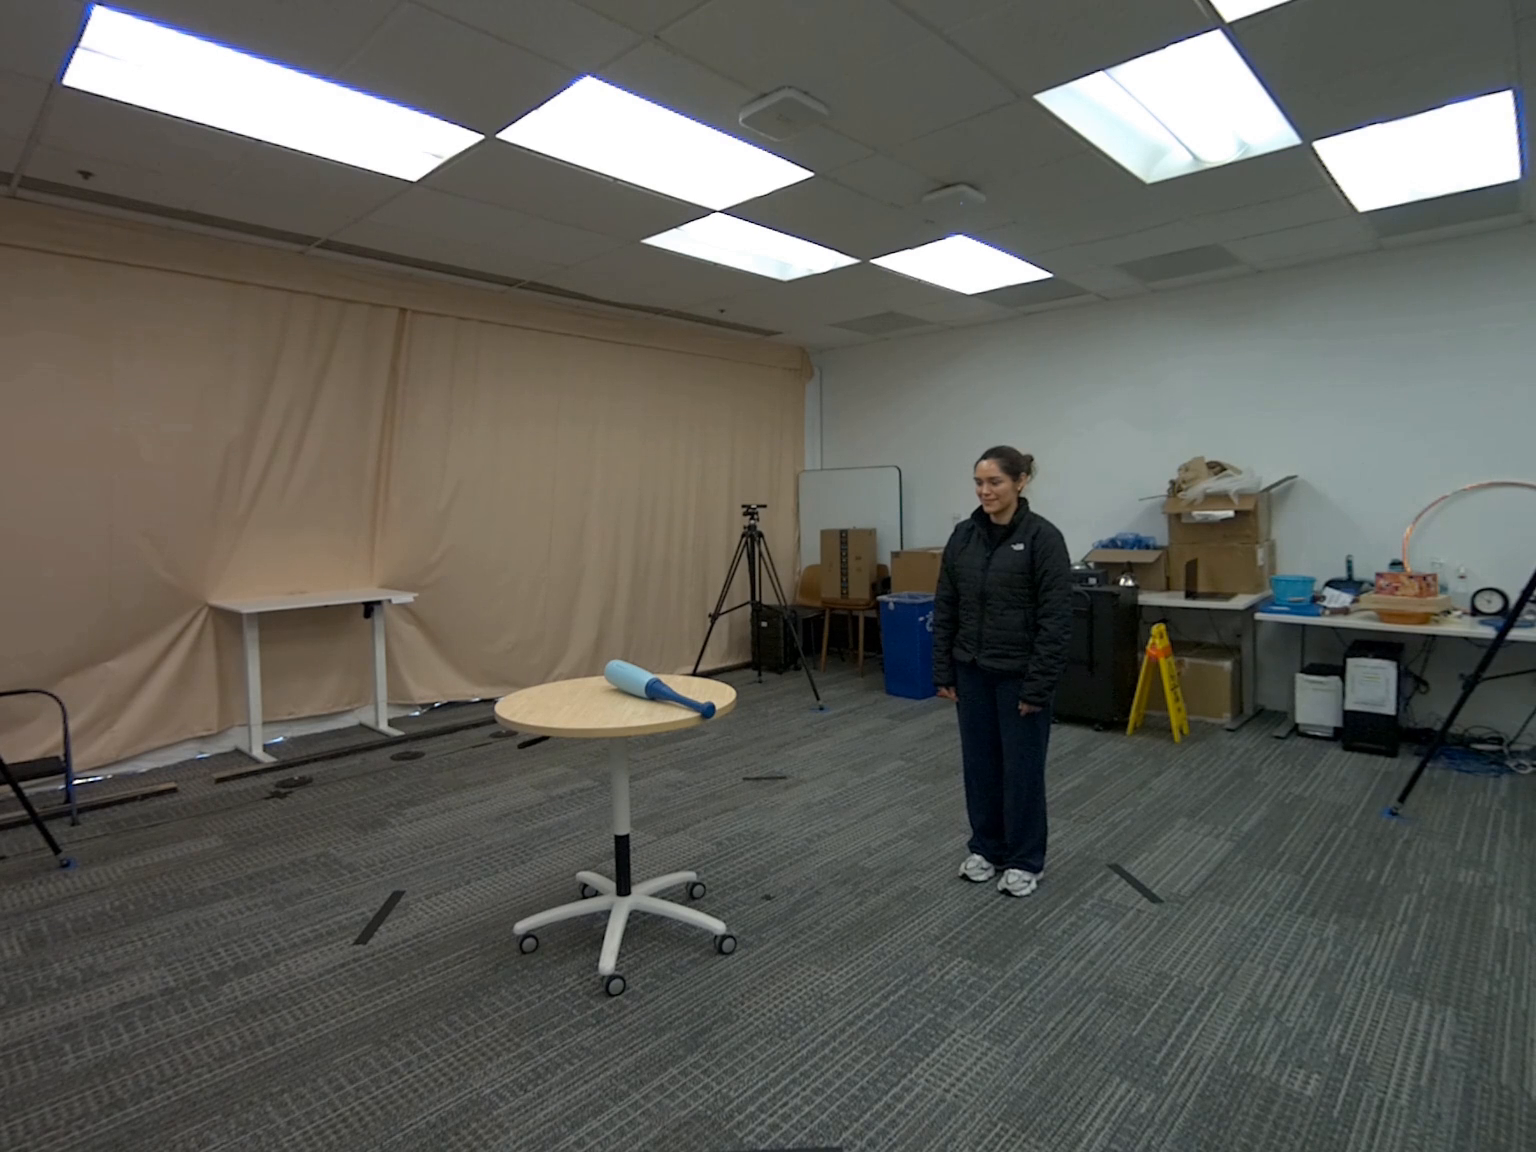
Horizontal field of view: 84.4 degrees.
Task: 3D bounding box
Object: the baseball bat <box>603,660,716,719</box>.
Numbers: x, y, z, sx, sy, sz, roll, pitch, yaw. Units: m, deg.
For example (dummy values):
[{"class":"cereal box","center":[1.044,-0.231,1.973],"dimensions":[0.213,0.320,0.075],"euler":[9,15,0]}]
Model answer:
[{"class":"baseball bat","center":[-0.322,0.359,2.650],"dimensions":[0.086,0.089,0.562],"euler":[-4,10,-41]}]
